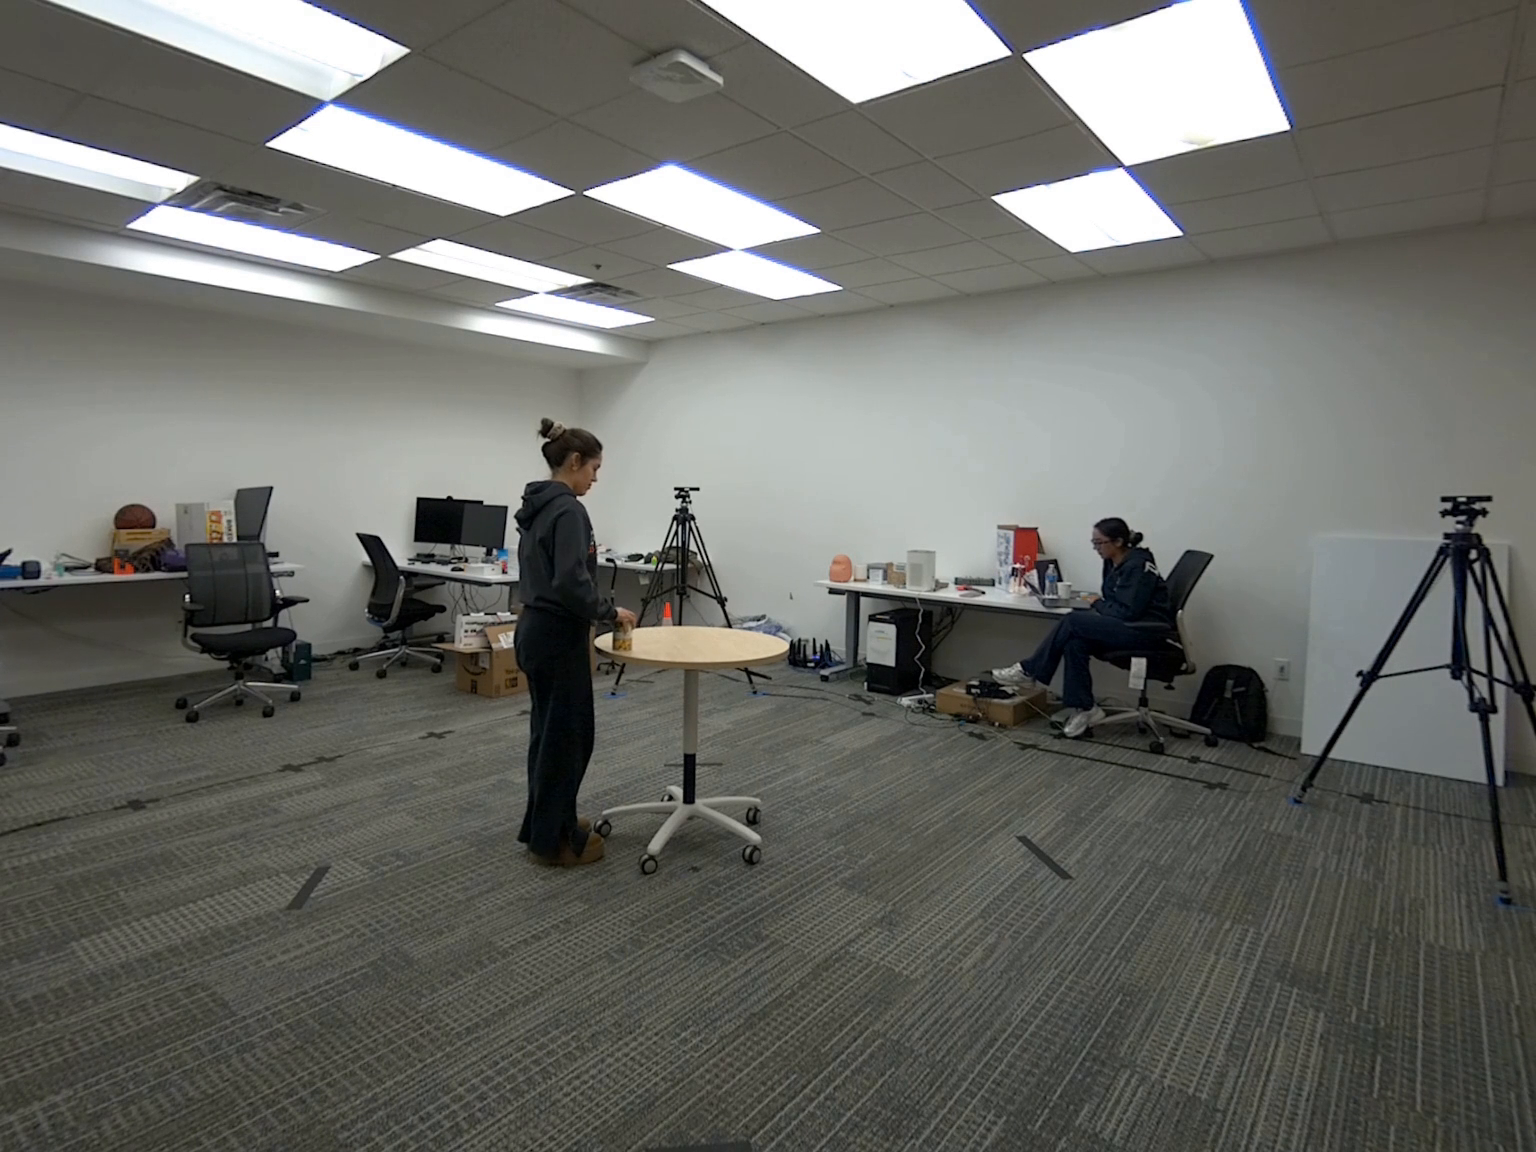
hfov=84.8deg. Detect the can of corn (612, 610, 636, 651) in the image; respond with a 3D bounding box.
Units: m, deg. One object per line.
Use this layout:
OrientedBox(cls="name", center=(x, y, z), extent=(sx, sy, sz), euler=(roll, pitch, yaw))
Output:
OrientedBox(cls="can of corn", center=(-0.544, 0.219, 3.166), extent=(0.074, 0.111, 0.074), euler=(0, 3, -2))
